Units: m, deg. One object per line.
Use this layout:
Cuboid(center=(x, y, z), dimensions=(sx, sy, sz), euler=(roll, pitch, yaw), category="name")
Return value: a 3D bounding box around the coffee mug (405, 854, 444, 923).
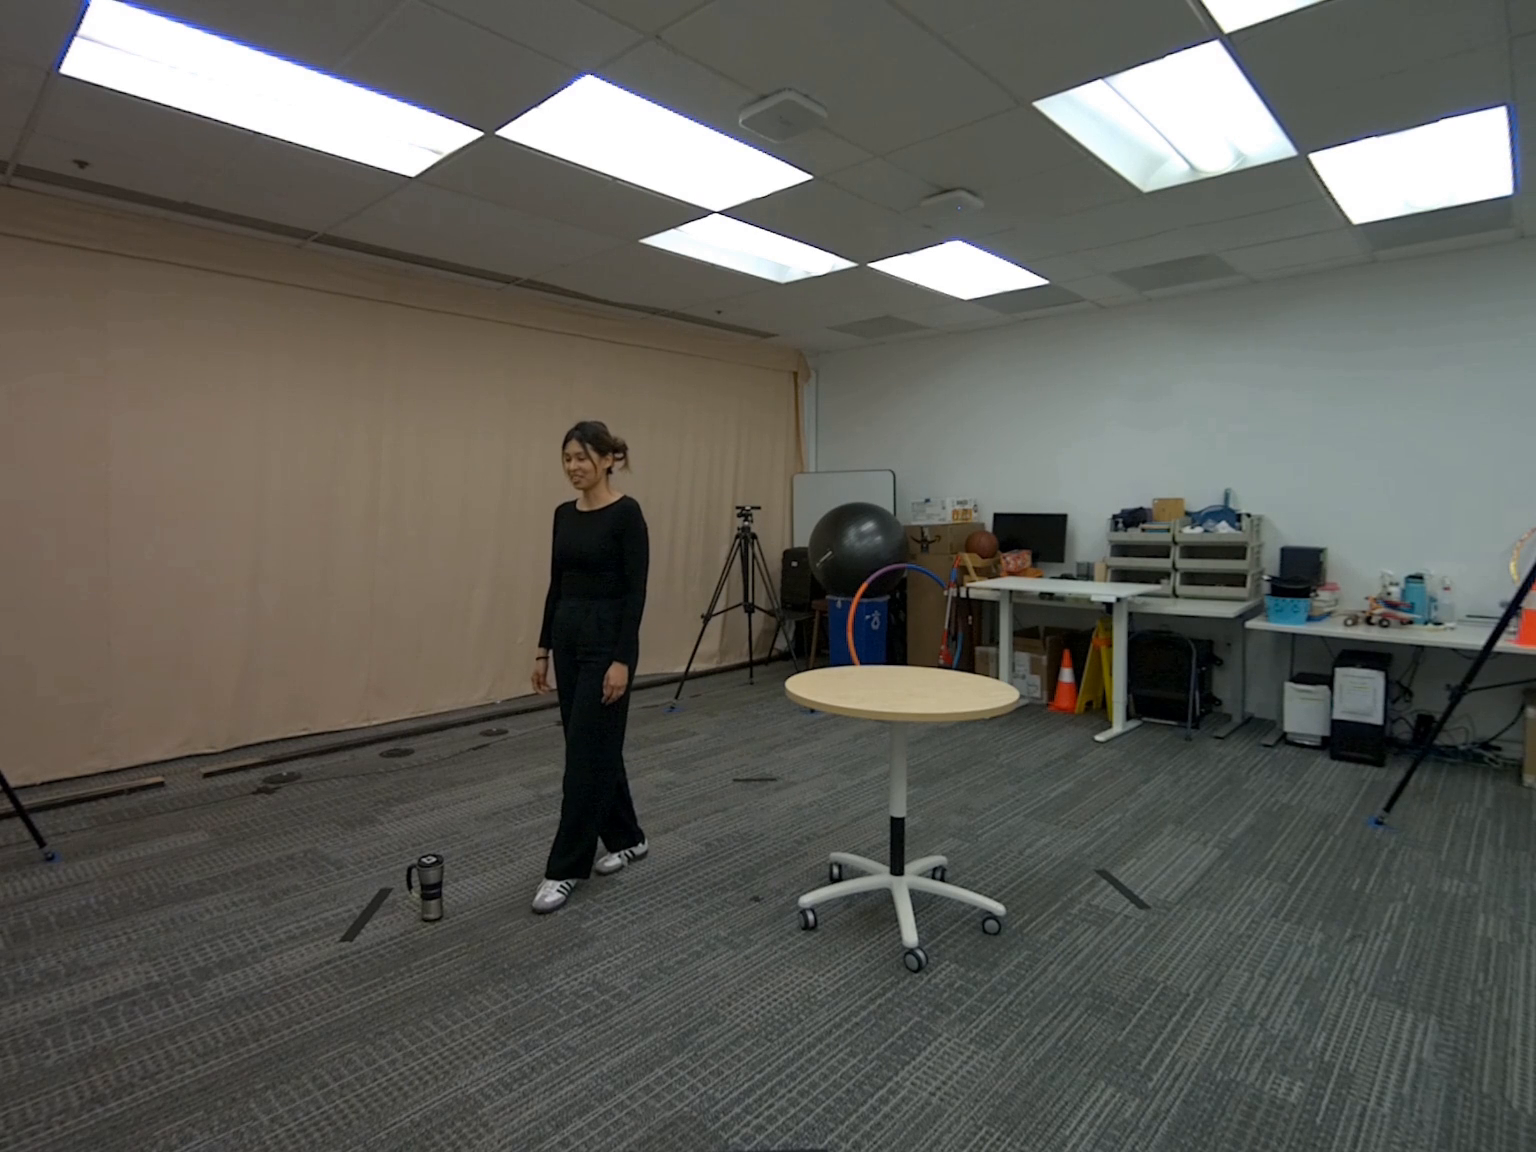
Cuboid(center=(-1.172, 1.072, 2.869), dimensions=(0.125, 0.202, 0.086), euler=(4, 8, 28), category="coffee mug")
